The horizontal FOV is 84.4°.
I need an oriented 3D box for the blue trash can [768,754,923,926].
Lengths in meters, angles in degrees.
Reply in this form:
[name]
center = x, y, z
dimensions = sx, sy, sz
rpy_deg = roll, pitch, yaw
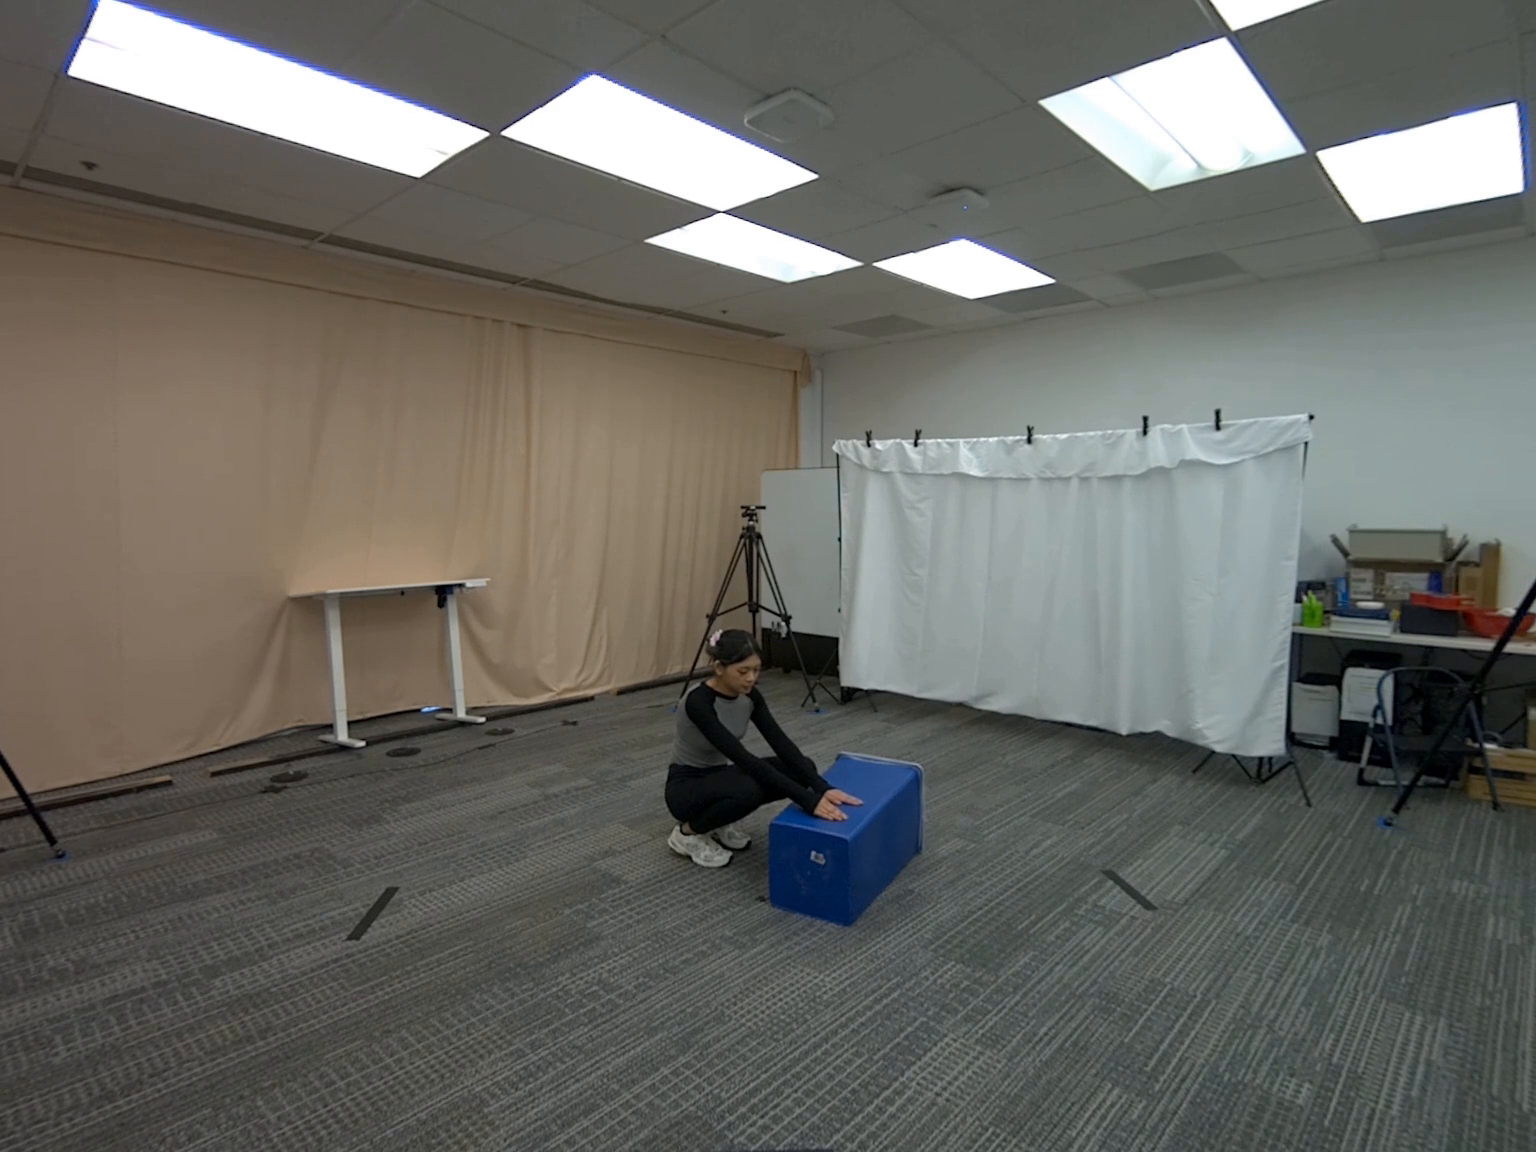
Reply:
[blue trash can]
center = 0.298, 0.962, 3.145
dimensions = 0.385, 0.376, 0.696
rpy_deg = 3, 8, 29
